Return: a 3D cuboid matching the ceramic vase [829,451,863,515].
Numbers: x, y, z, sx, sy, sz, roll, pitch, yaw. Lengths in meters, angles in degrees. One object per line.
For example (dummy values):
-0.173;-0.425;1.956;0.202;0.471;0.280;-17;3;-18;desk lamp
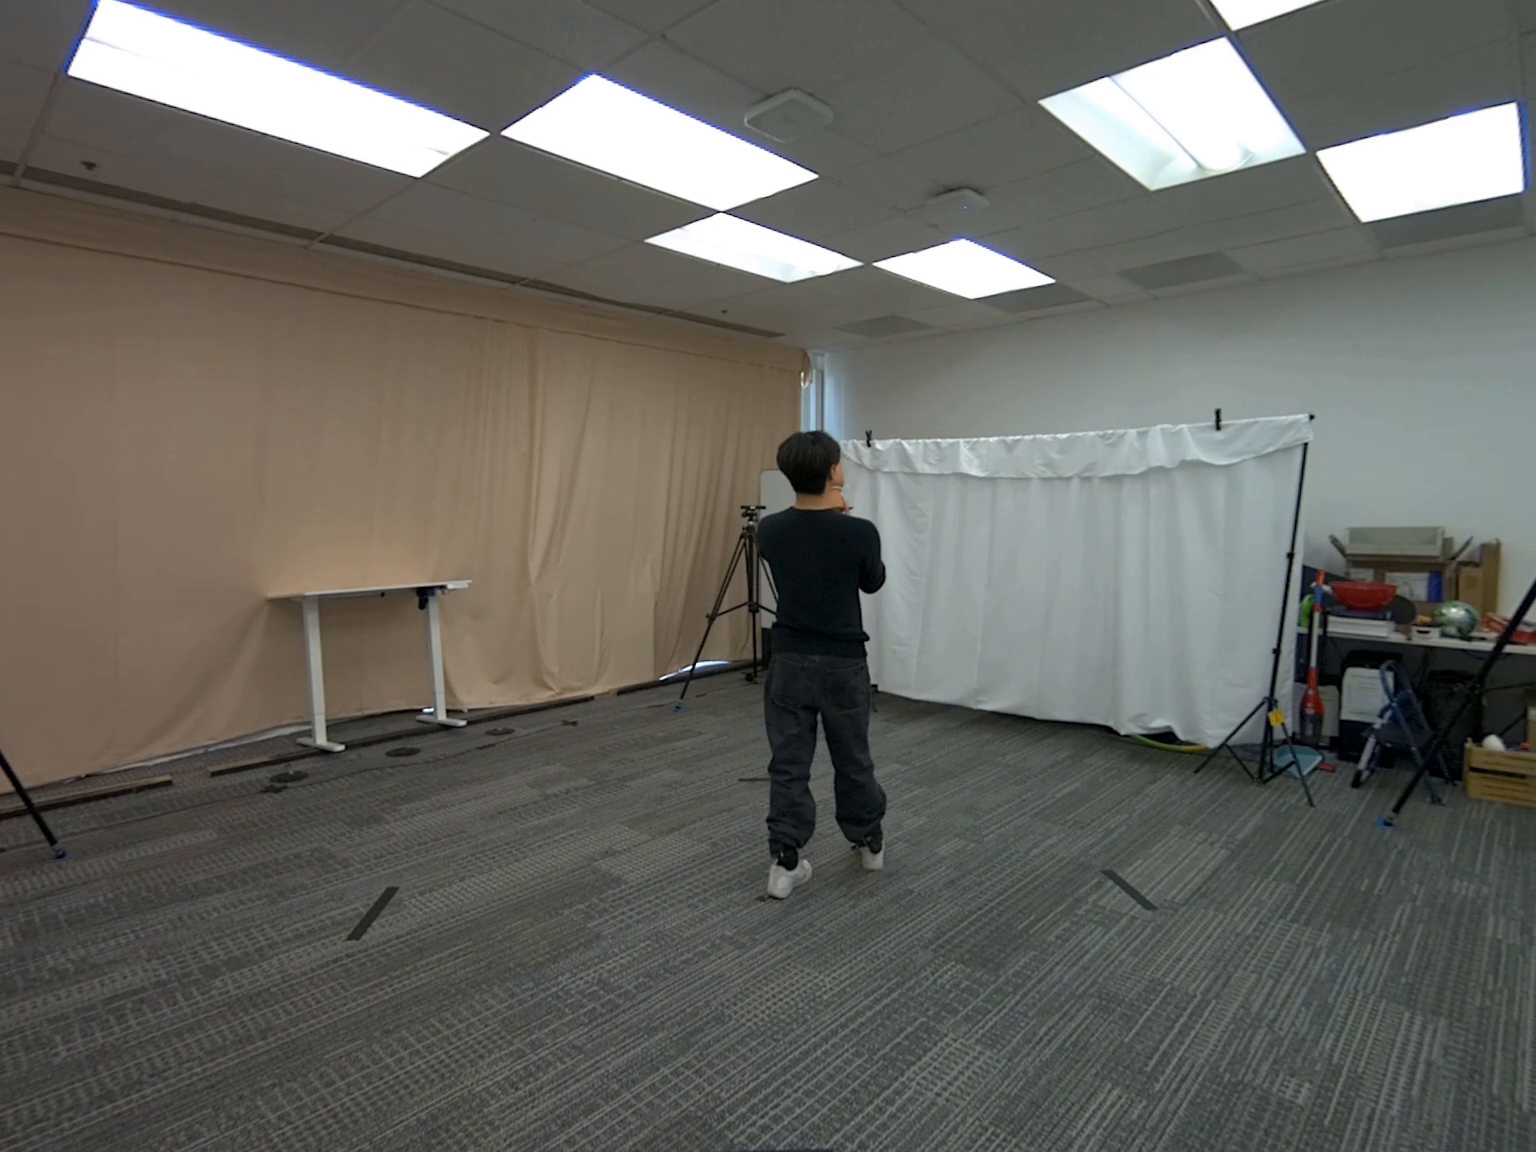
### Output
0.255;-0.367;3.373;0.156;0.222;0.135;-4;-16;-18;ceramic vase
